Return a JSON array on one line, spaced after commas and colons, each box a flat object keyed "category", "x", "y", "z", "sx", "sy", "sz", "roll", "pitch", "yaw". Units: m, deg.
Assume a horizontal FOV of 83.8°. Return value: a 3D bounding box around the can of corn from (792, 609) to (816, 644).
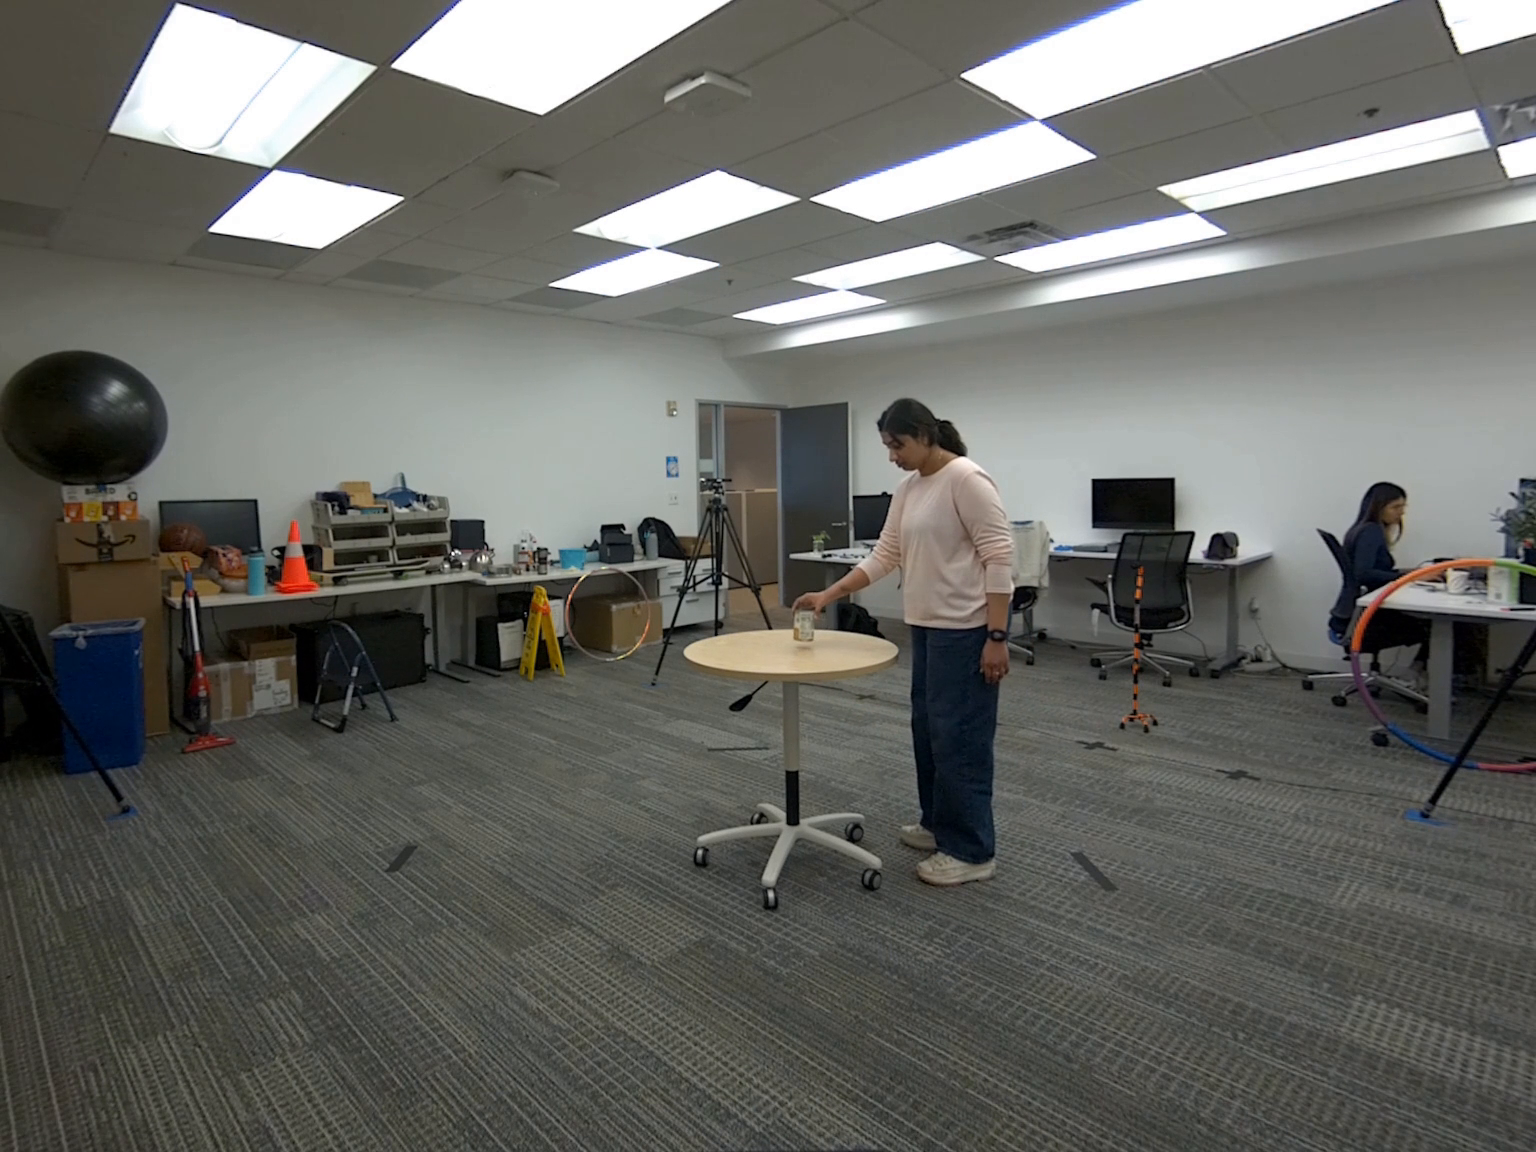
[{"category": "can of corn", "x": 0.148, "y": 0.177, "z": 3.084, "sx": 0.074, "sy": 0.111, "sz": 0.074, "roll": 5, "pitch": 3, "yaw": -2}]
